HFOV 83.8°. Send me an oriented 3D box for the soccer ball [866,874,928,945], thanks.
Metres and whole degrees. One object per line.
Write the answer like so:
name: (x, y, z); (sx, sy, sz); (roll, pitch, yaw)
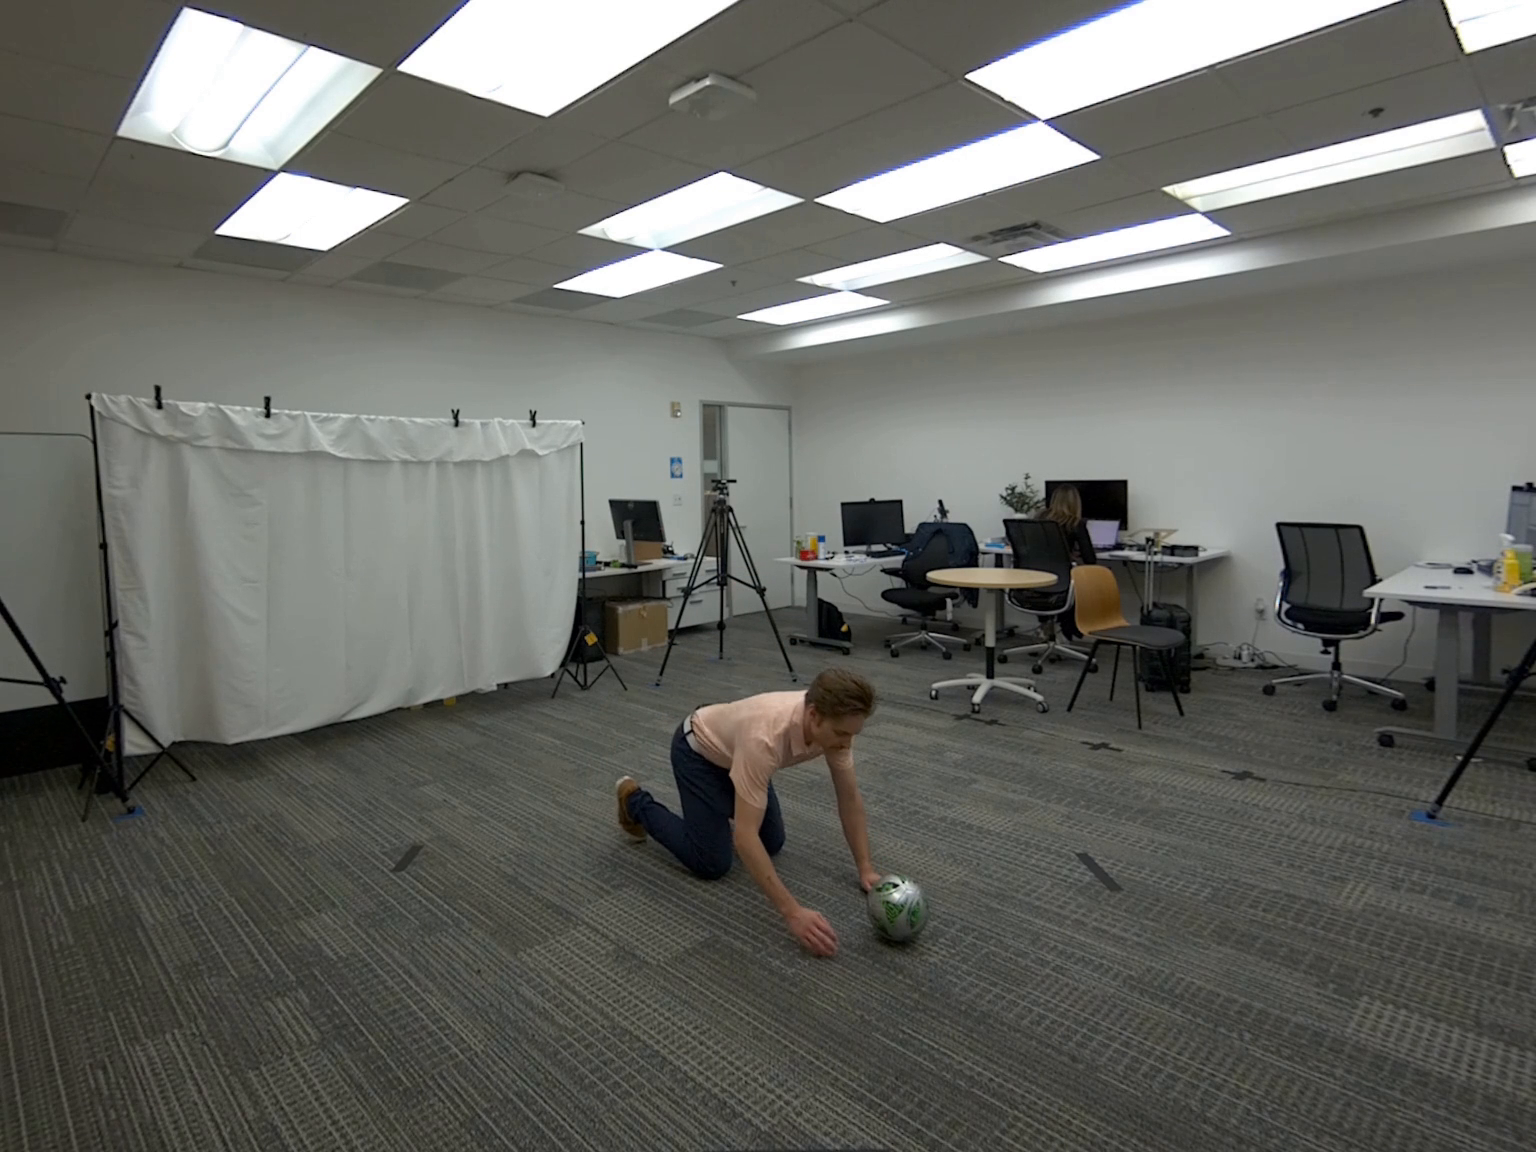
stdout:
soccer ball: (0.395, 1.002, 2.584); (0.187, 0.187, 0.188); (-1, 5, -2)
